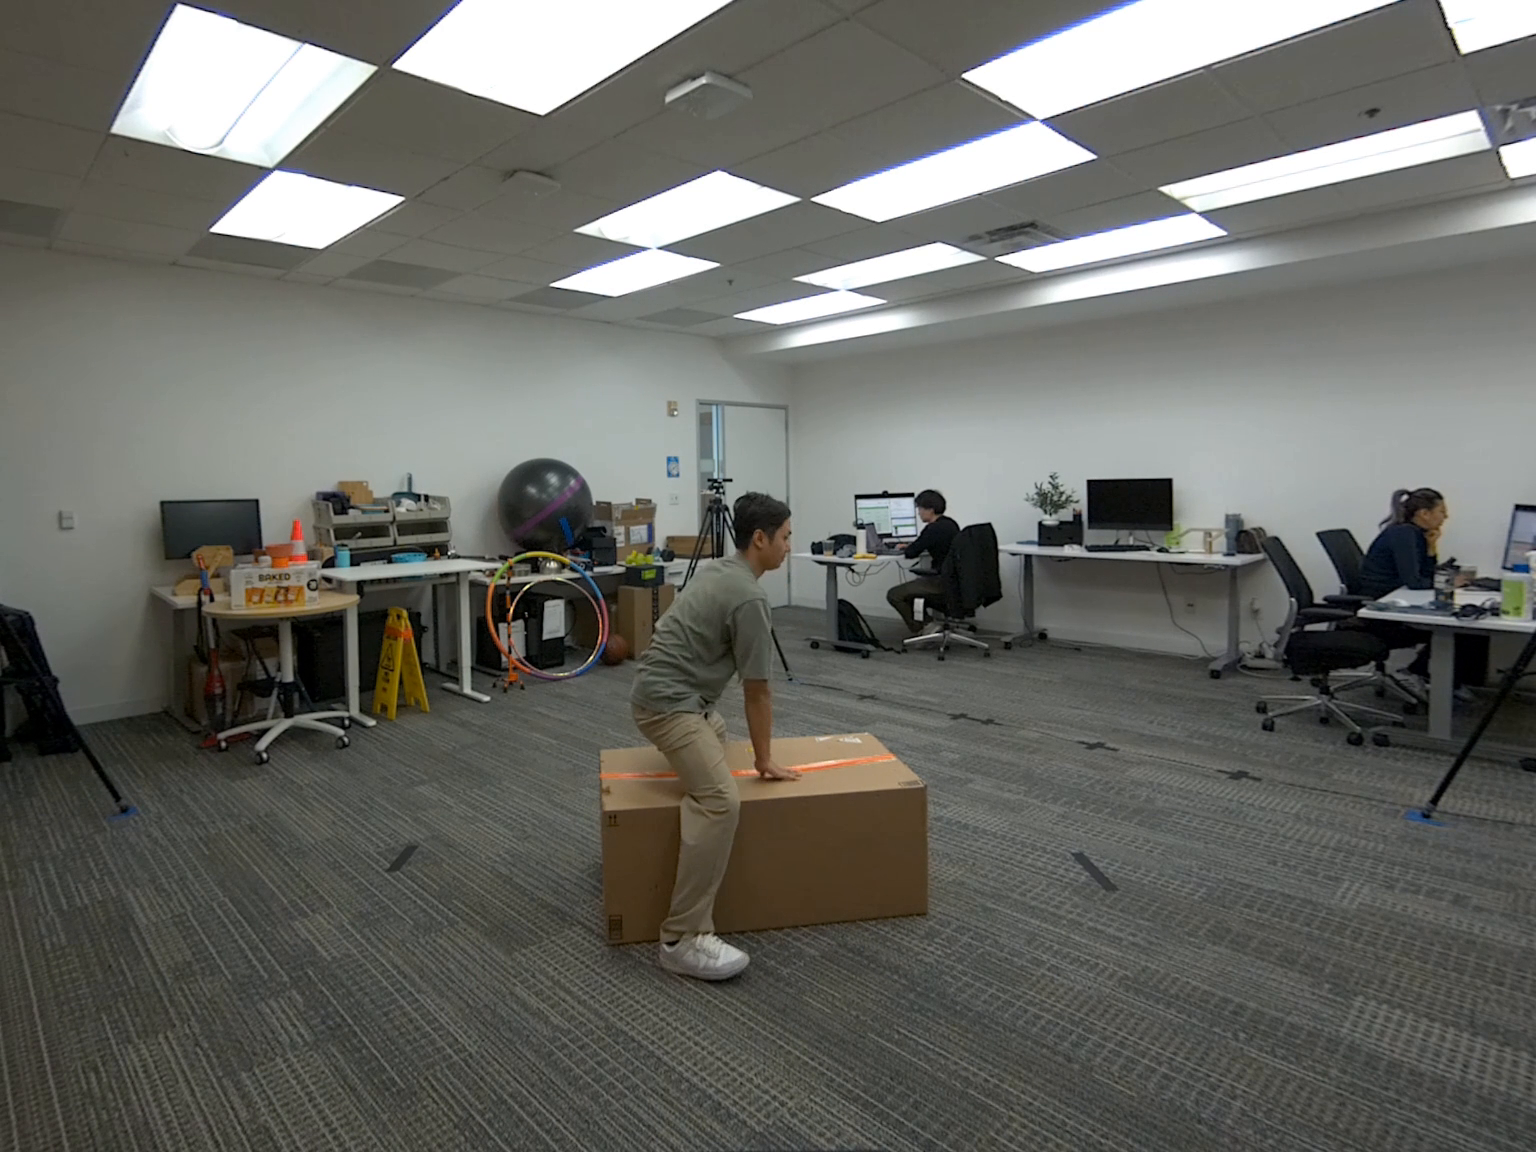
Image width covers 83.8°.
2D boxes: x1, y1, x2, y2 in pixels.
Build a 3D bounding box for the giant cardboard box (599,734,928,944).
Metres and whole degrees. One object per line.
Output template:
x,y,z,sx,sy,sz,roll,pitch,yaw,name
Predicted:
-0.049,0.856,2.913,1.017,0.424,0.585,-2,5,-9,giant cardboard box
